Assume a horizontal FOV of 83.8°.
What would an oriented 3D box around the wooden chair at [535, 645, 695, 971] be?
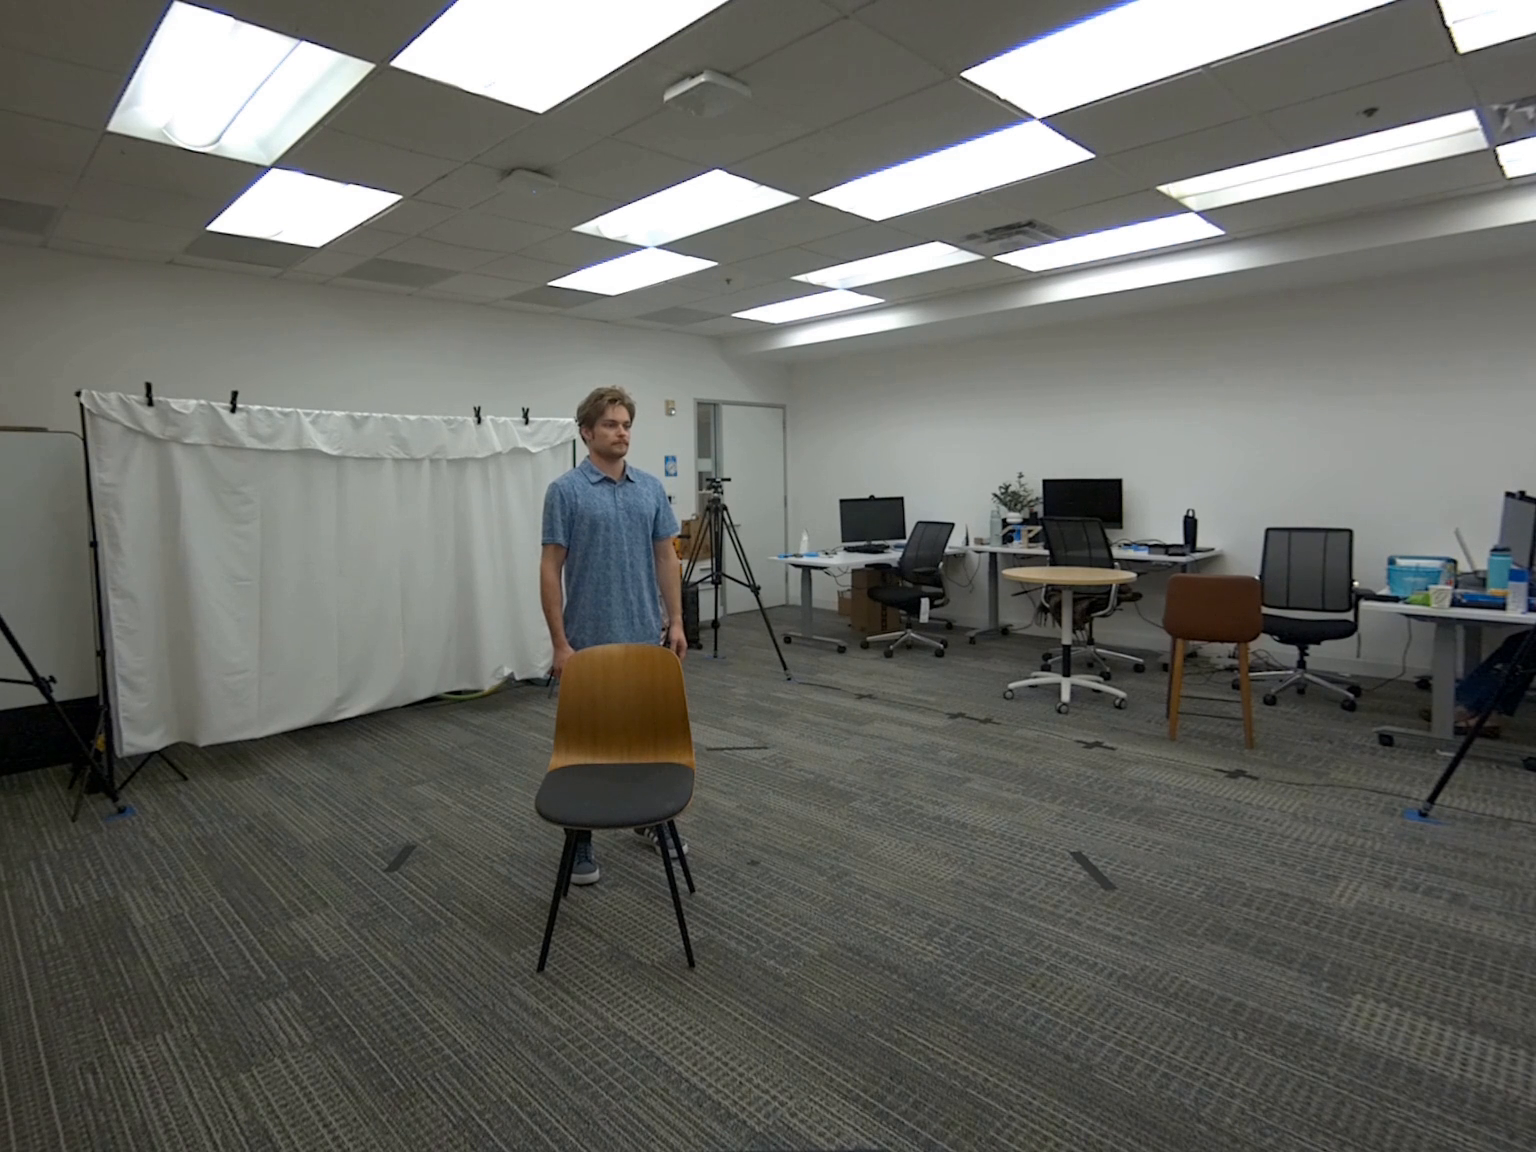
[{"bbox_3d":[-0.457,0.677,2.624,0.477,0.877,0.524,-1,0,-3],"label":"wooden chair"}]
